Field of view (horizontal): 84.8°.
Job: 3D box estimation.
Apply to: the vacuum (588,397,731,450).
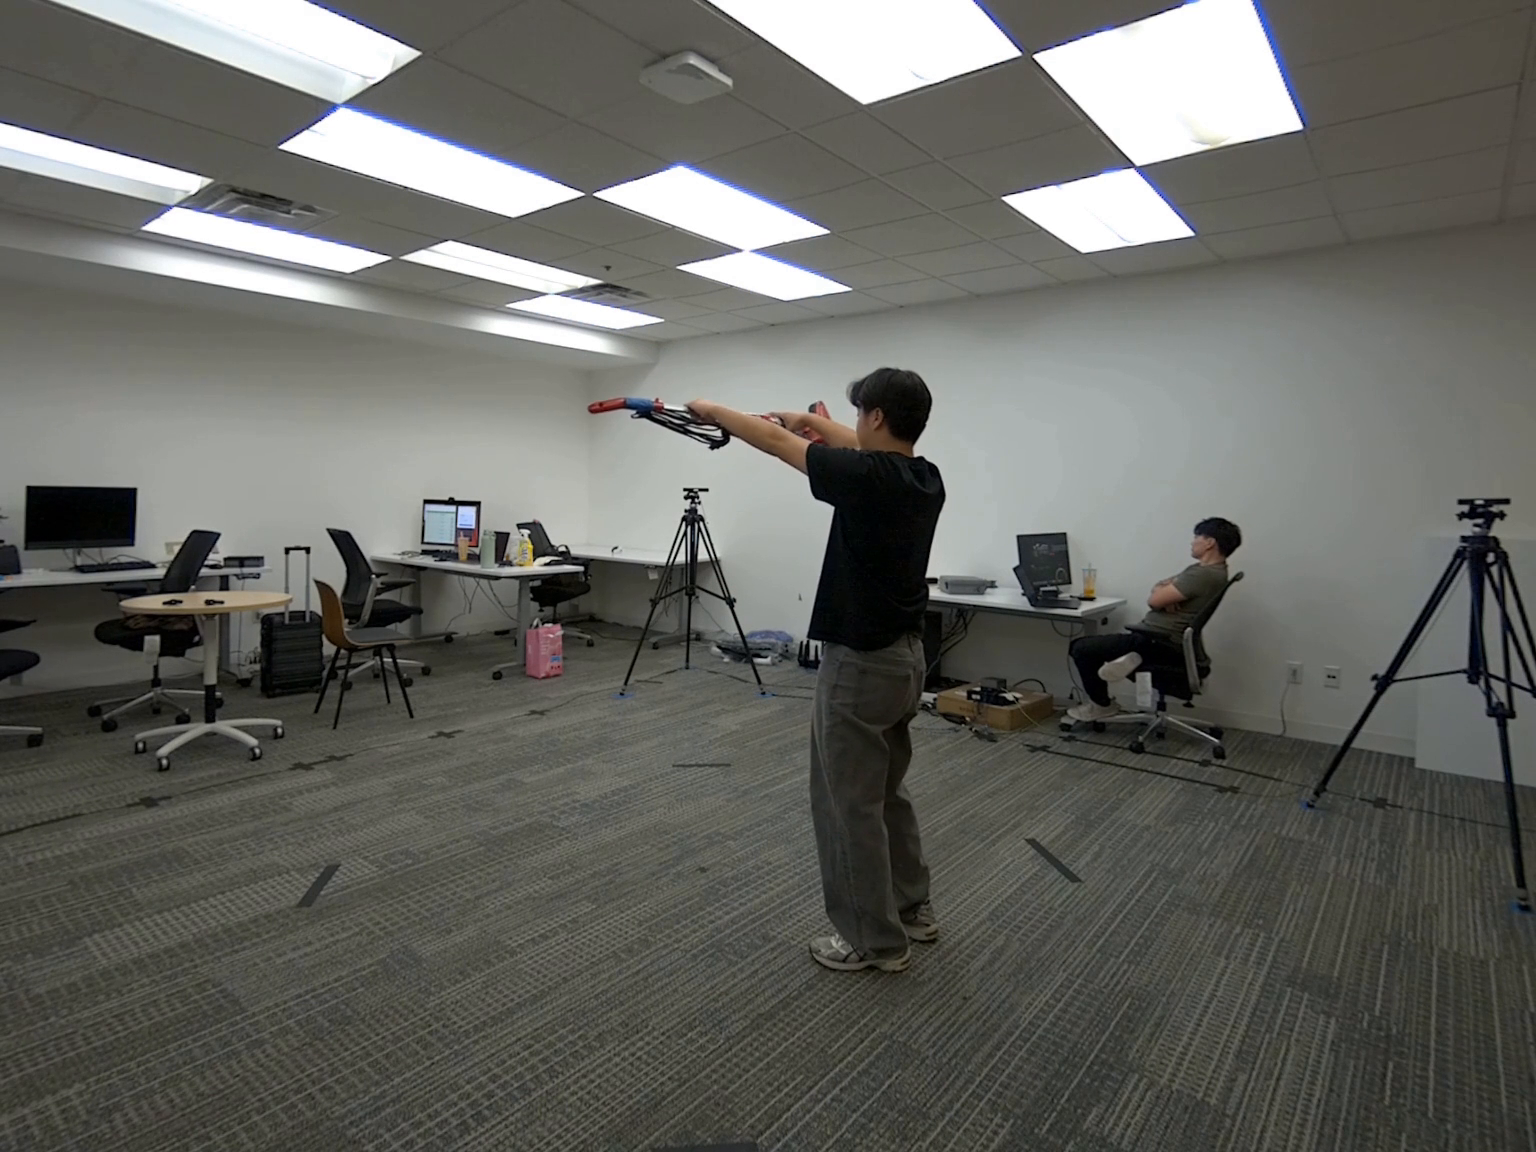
[{"bbox_3d":[-0.152,-0.501,2.806,1.018,0.260,0.144,-4,-35,-47],"label":"vacuum"}]
